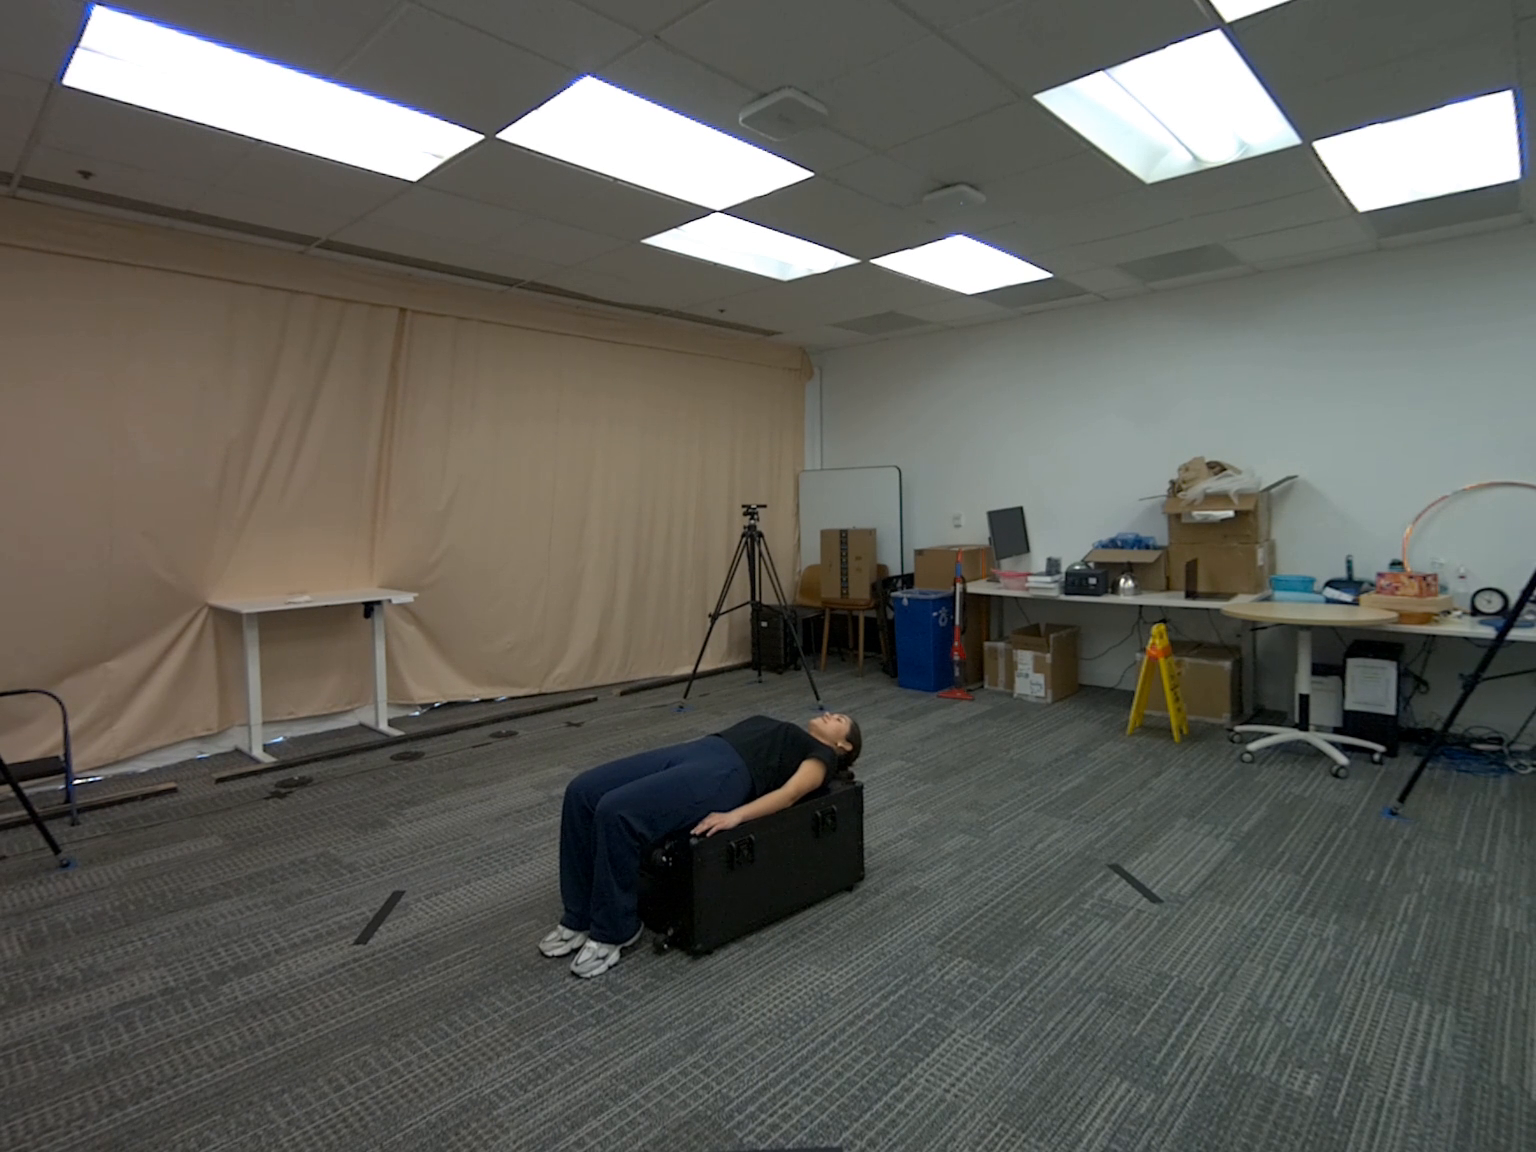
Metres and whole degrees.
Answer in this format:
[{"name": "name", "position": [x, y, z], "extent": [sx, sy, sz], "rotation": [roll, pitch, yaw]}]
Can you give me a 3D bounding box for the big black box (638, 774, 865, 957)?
[{"name": "big black box", "position": [-0.061, 0.961, 3.002], "extent": [0.836, 0.395, 0.538], "rotation": [-7, 8, -41]}]
